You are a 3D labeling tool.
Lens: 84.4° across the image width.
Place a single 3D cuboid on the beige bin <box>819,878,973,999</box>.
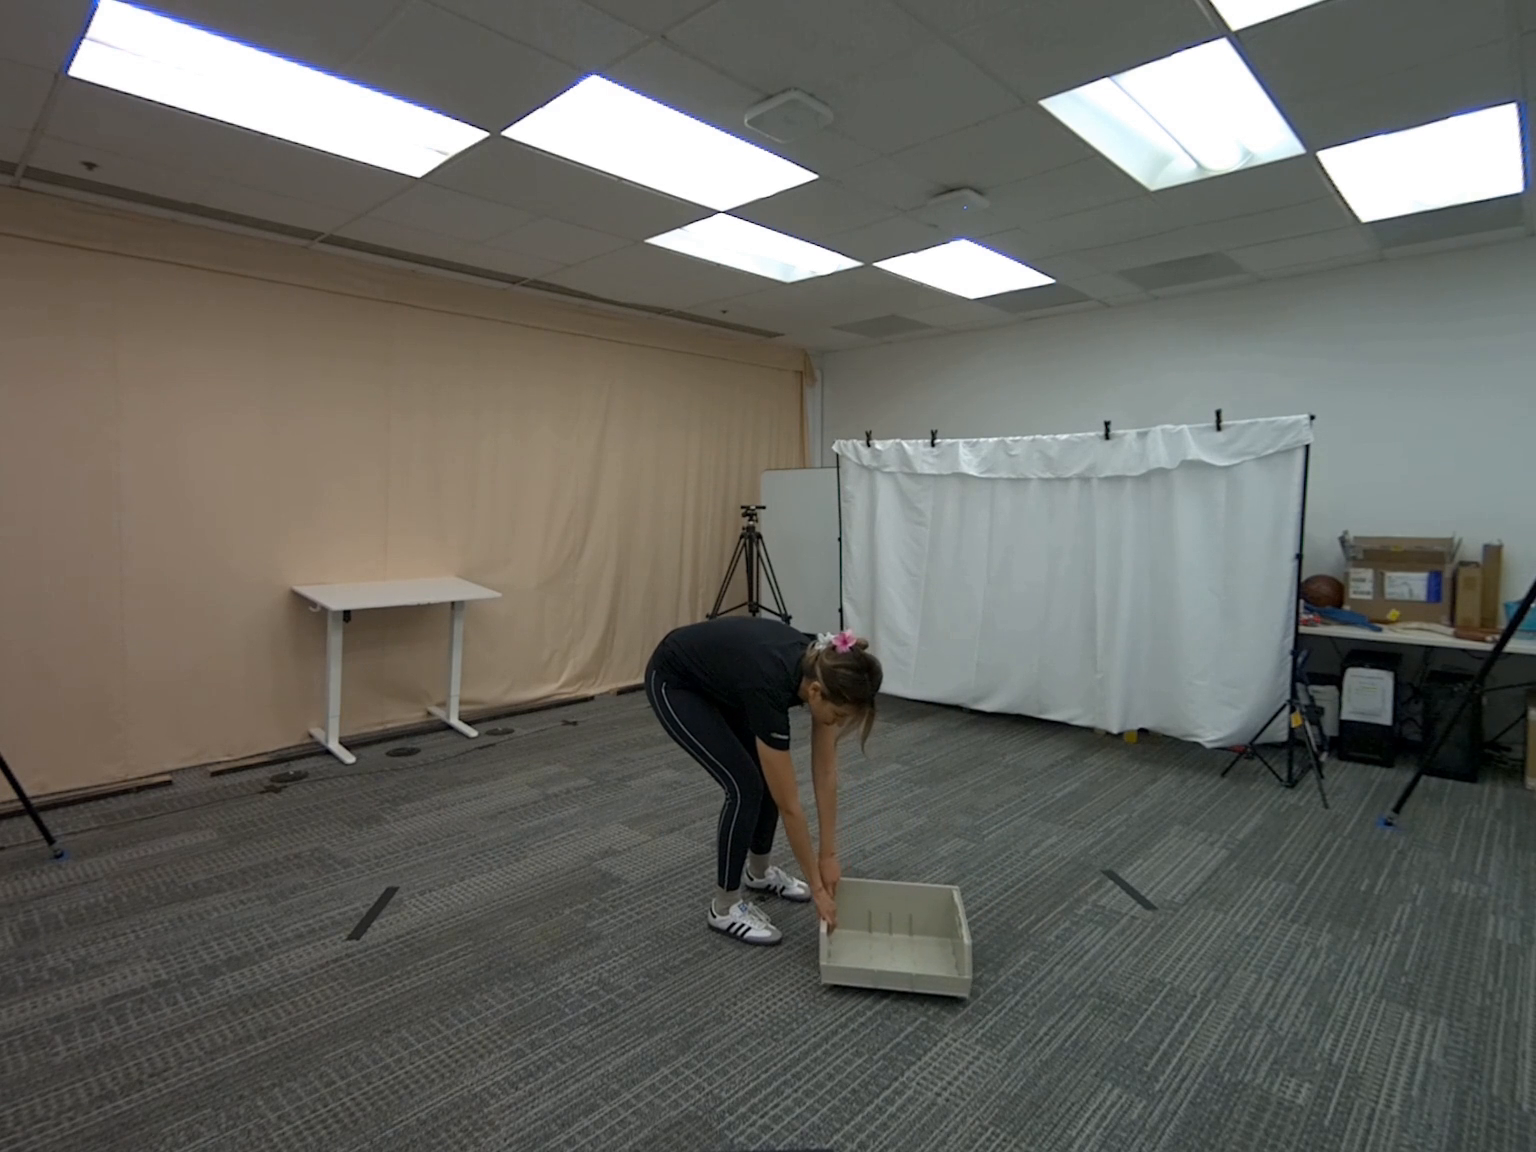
[{"bbox_3d":[0.381,1.092,2.531,0.427,0.188,0.374,0,3,9],"label":"beige bin"}]
